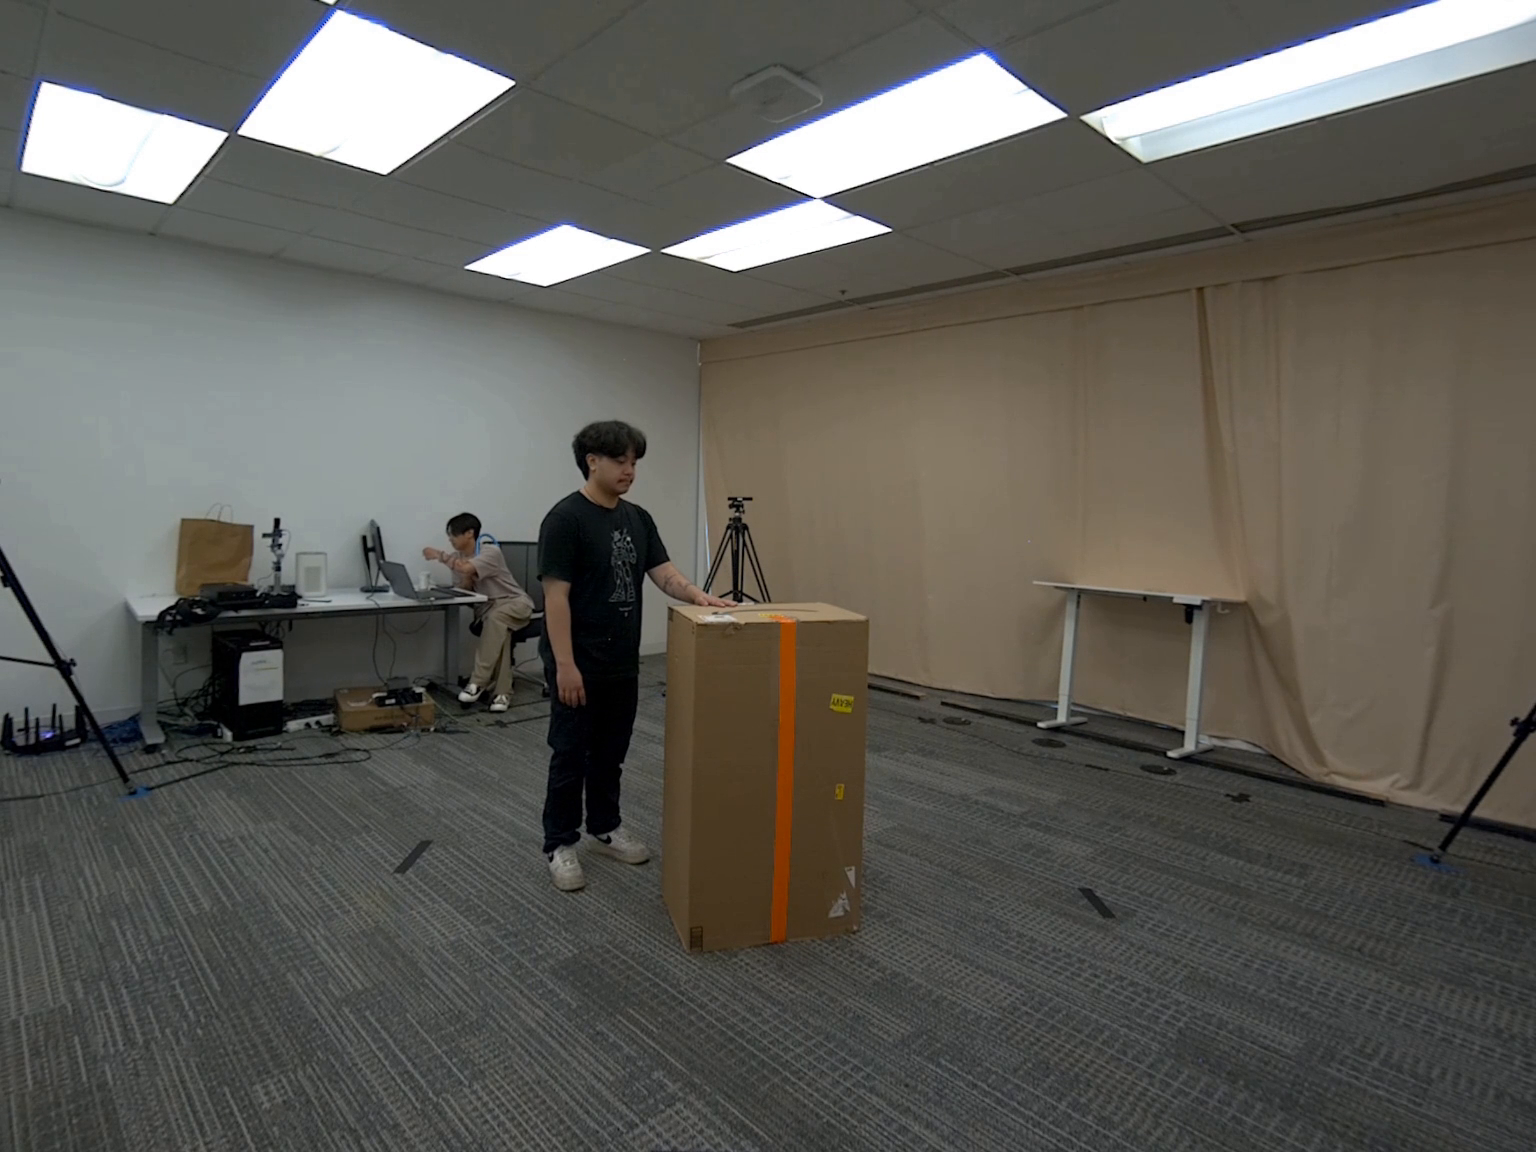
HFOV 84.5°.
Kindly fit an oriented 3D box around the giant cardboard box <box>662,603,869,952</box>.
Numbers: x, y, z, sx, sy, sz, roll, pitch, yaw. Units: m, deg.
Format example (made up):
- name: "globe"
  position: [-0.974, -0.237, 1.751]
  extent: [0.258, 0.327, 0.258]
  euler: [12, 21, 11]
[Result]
- name: "giant cardboard box"
  position: [-0.031, 0.625, 2.813]
  extent: [0.576, 1.024, 0.454]
  euler: [1, 4, -17]
